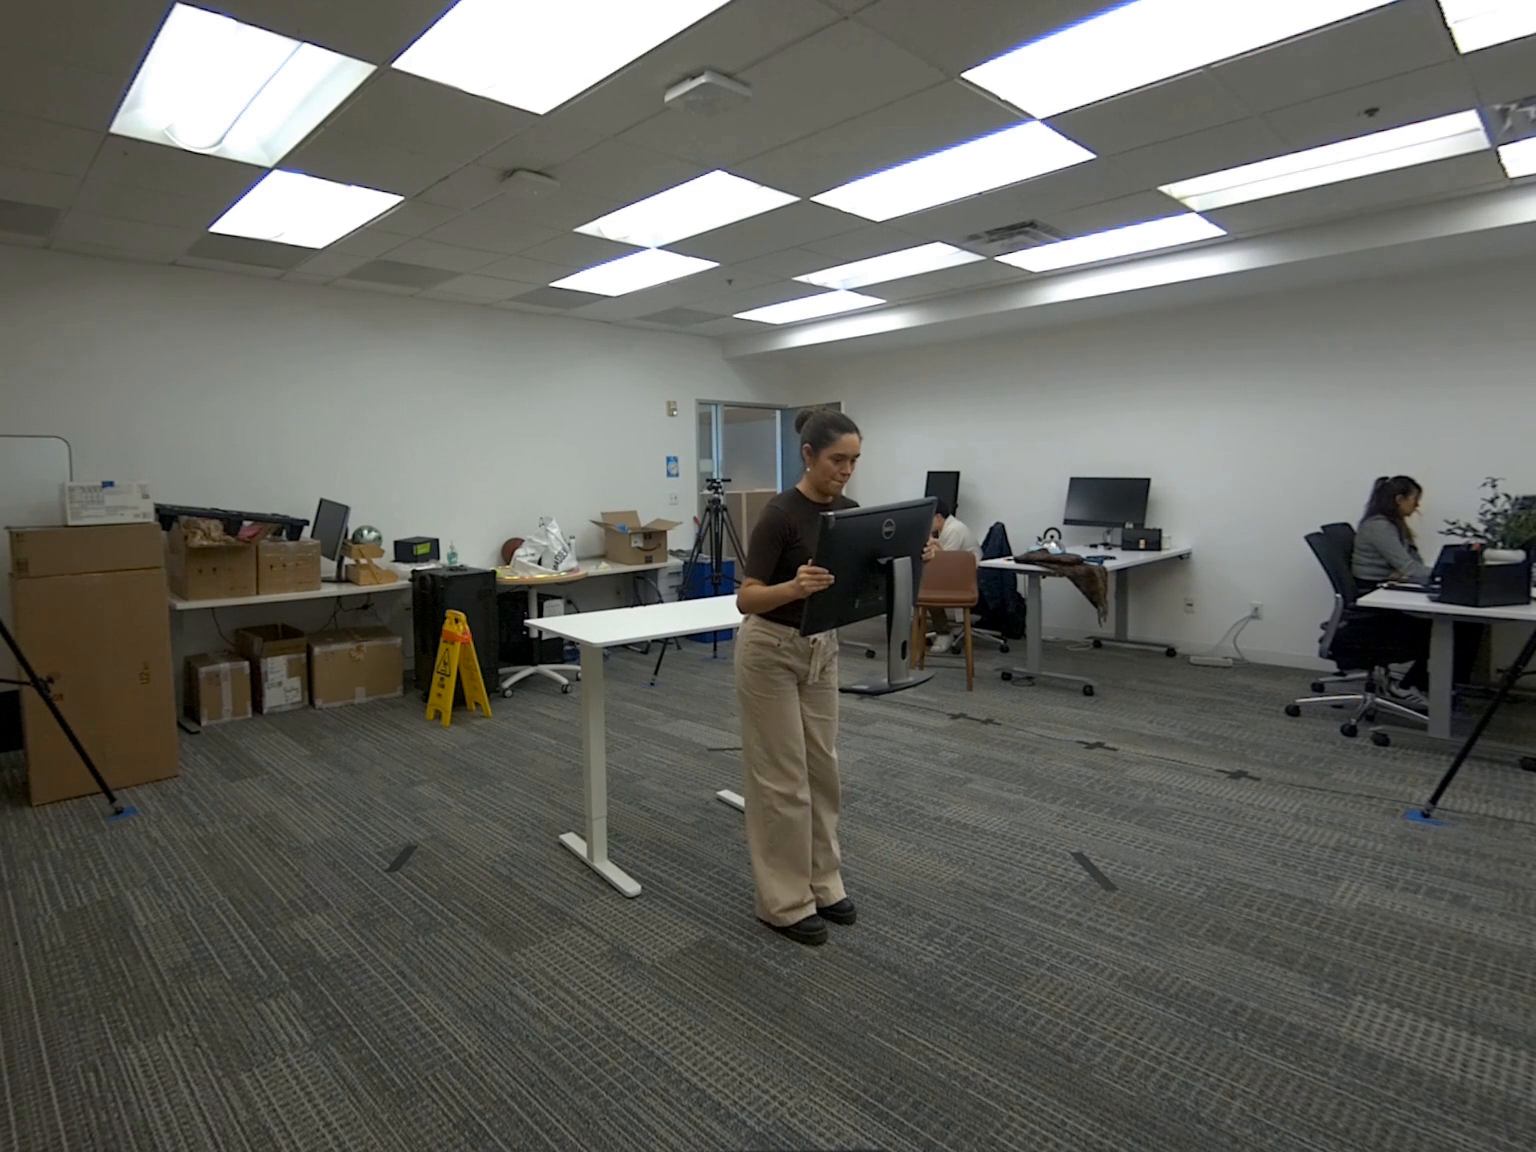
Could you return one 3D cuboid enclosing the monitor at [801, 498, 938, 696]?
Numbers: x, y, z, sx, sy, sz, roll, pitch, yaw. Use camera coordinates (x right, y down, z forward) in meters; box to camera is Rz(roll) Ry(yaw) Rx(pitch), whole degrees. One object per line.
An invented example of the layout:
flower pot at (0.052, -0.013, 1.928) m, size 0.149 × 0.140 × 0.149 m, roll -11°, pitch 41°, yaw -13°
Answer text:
monitor at (0.322, 0.058, 2.435) m, size 0.193 × 0.520 × 0.526 m, roll 1°, pitch 8°, yaw 44°
